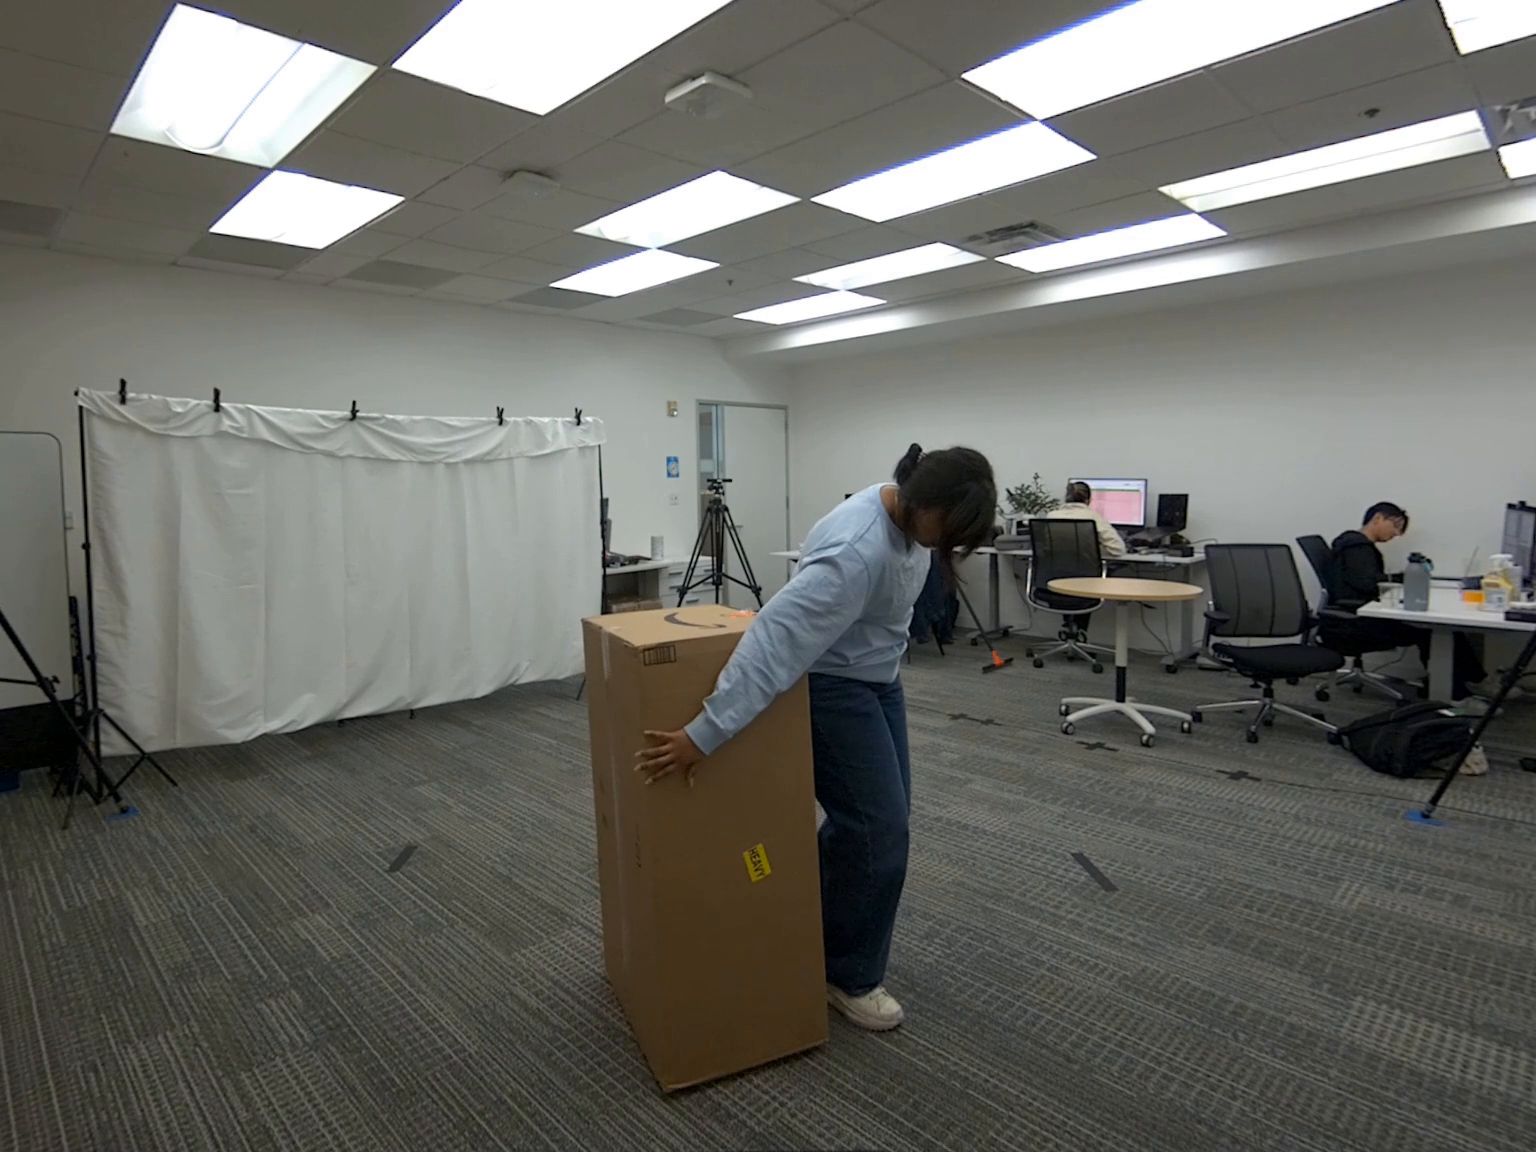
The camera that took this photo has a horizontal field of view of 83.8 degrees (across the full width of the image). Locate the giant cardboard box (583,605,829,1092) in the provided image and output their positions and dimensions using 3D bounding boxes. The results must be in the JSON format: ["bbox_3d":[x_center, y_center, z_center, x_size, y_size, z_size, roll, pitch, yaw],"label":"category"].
[{"bbox_3d":[-0.187,0.626,2.253,0.418,1.023,0.590,-4,3,-23],"label":"giant cardboard box"}]
